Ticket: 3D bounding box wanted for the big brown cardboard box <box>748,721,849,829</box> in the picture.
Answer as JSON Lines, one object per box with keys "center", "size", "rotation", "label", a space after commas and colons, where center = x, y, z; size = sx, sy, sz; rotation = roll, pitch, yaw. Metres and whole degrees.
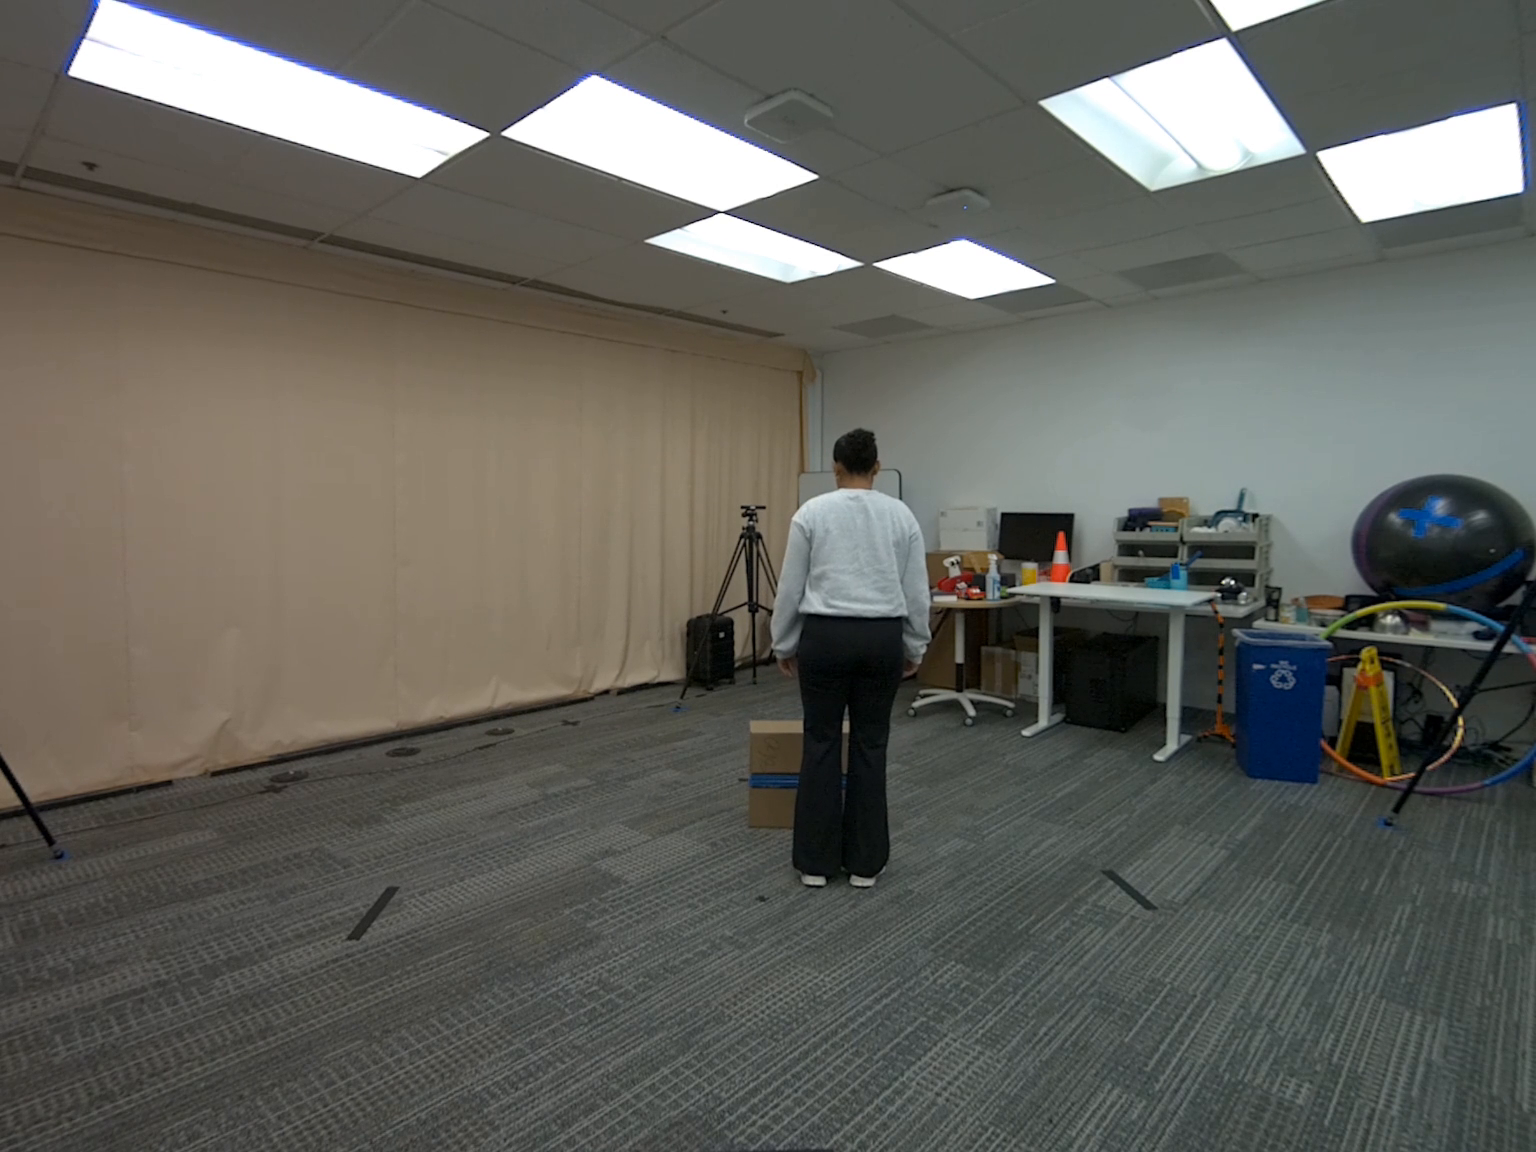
{"center": [0.205, 0.874, 3.729], "size": [0.591, 0.417, 0.233], "rotation": [0, 1, 2], "label": "big brown cardboard box"}
